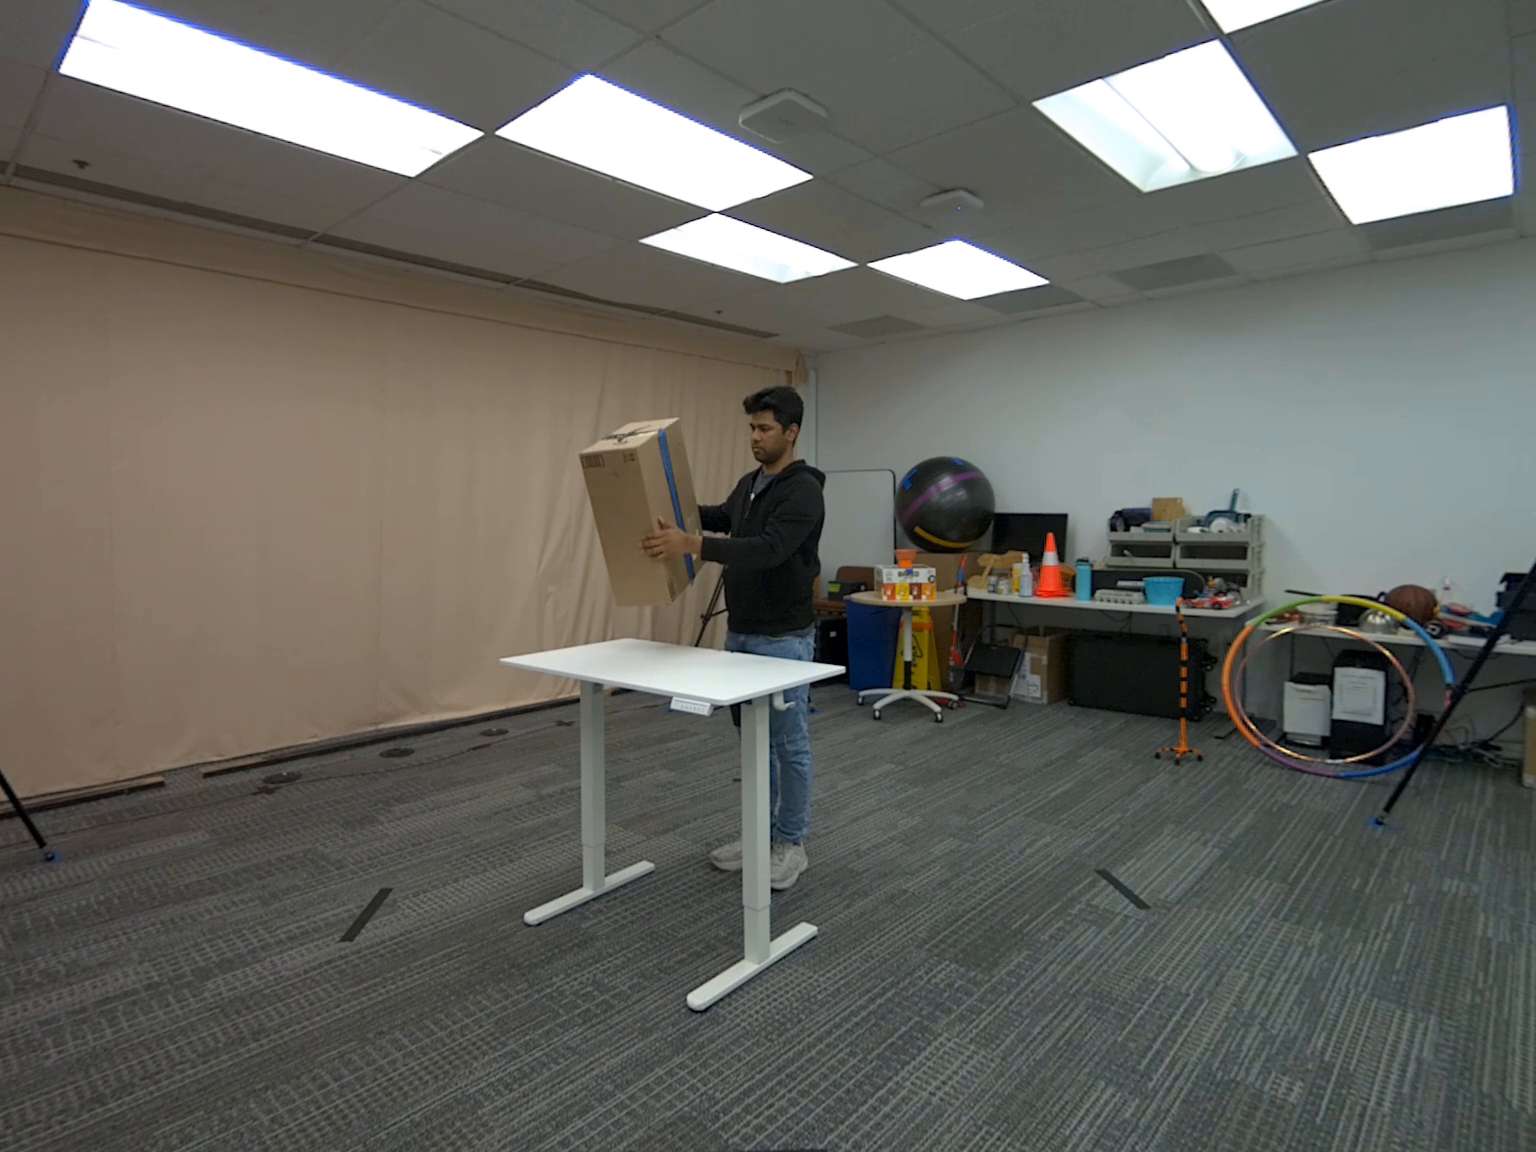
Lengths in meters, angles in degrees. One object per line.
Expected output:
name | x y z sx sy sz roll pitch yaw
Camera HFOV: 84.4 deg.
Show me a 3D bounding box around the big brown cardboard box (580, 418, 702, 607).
big brown cardboard box | -0.422 -0.221 3.019 0.237 0.579 0.416 -5 22 18
